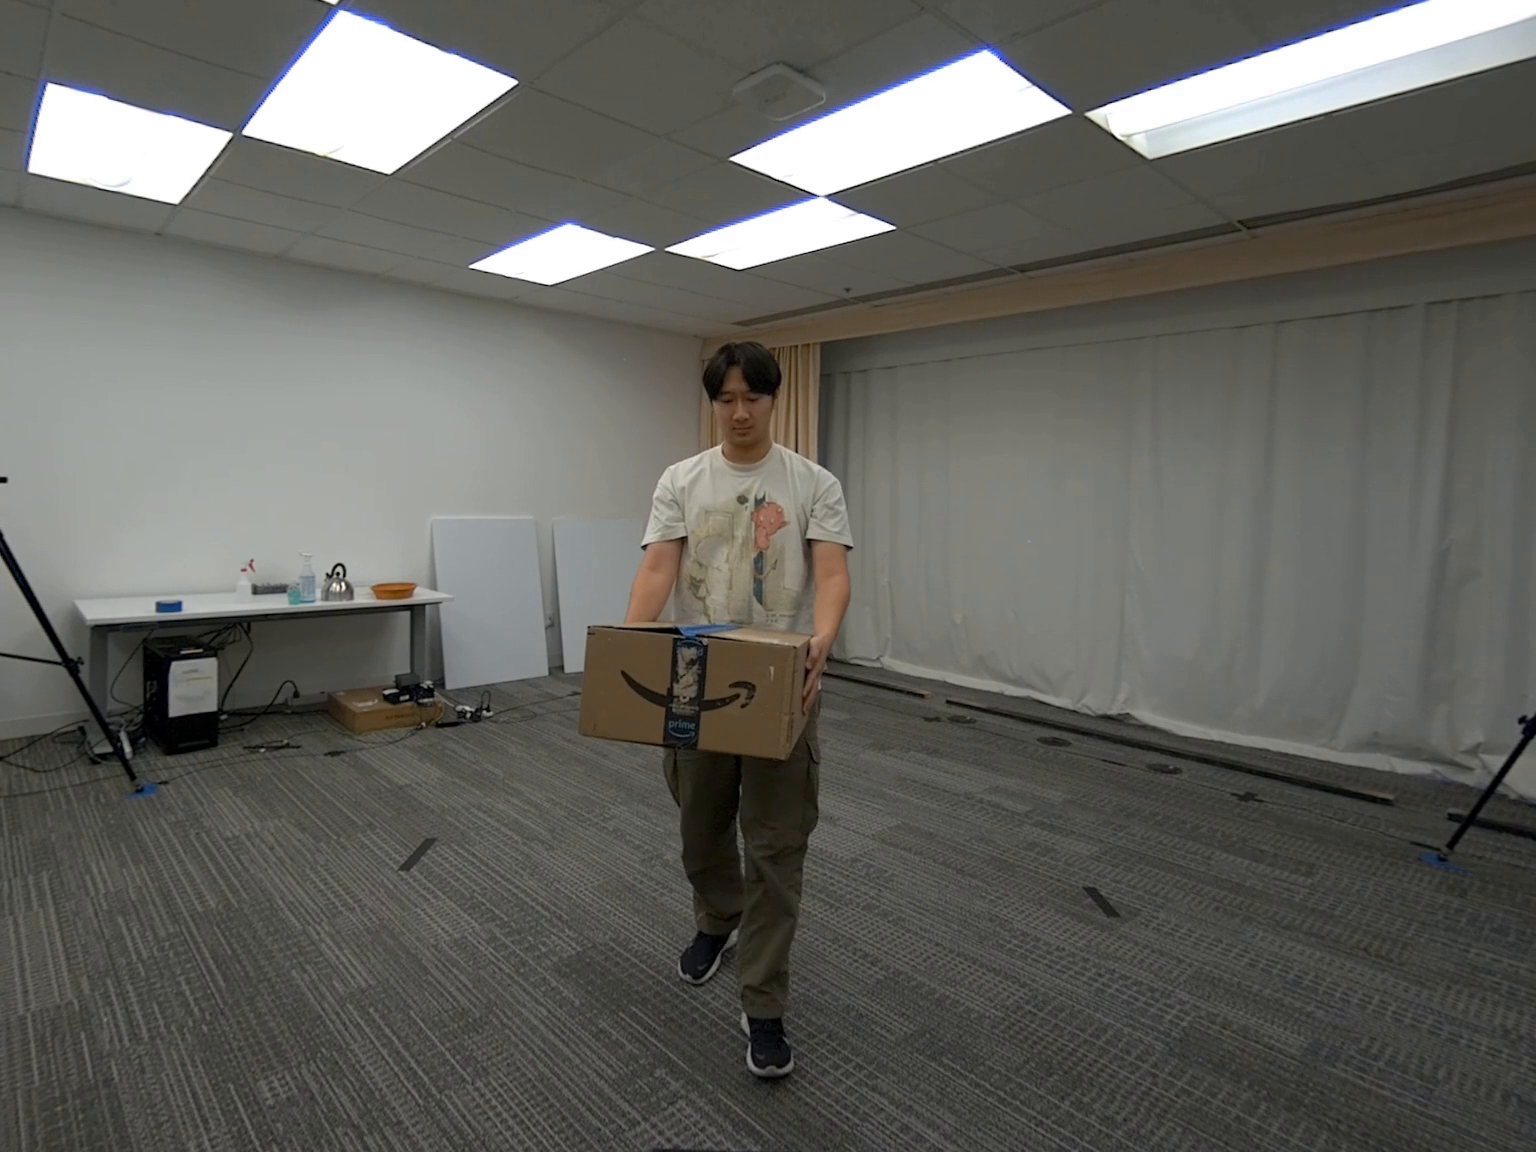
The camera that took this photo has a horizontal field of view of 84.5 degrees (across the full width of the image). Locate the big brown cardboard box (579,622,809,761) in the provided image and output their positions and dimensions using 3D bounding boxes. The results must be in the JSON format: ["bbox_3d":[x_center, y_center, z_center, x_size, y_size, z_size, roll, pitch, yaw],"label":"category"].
[{"bbox_3d":[-0.132,0.226,1.875,0.421,0.234,0.583,5,-2,8],"label":"big brown cardboard box"}]
